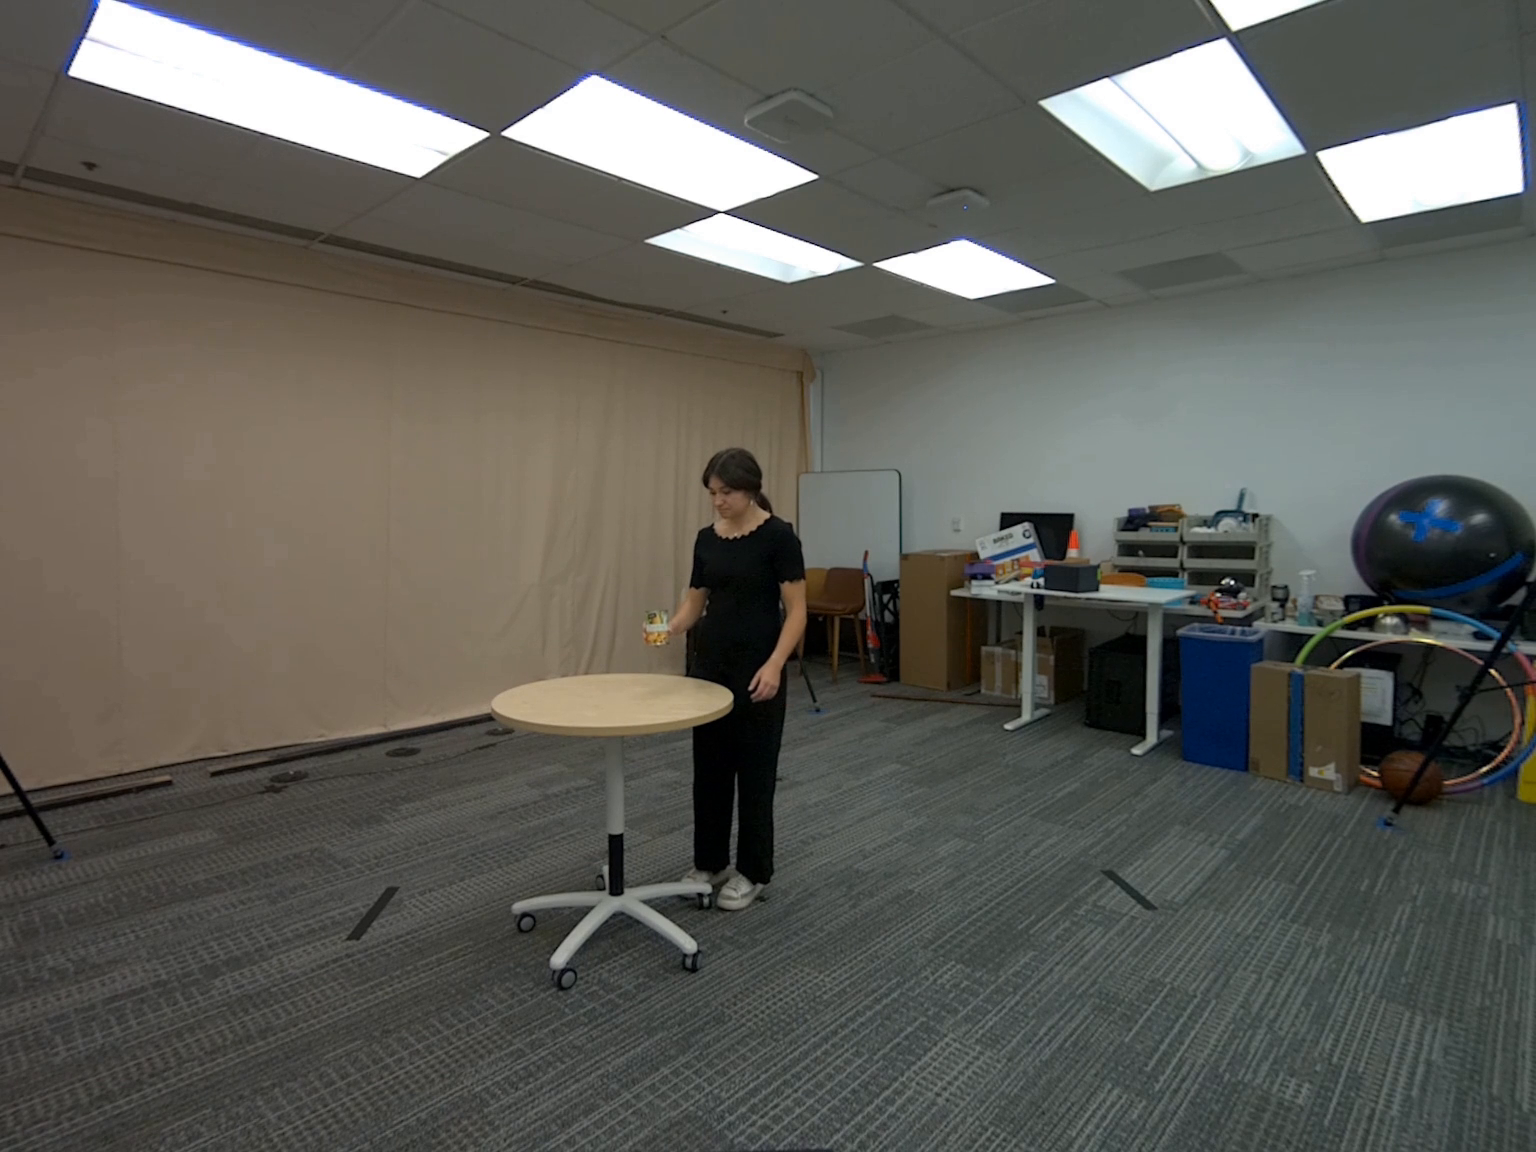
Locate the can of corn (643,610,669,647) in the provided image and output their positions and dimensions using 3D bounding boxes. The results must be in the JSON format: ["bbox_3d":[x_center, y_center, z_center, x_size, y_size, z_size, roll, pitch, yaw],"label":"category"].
[{"bbox_3d":[-0.369,0.169,2.783,0.074,0.111,0.074,0,-1,-2],"label":"can of corn"}]
